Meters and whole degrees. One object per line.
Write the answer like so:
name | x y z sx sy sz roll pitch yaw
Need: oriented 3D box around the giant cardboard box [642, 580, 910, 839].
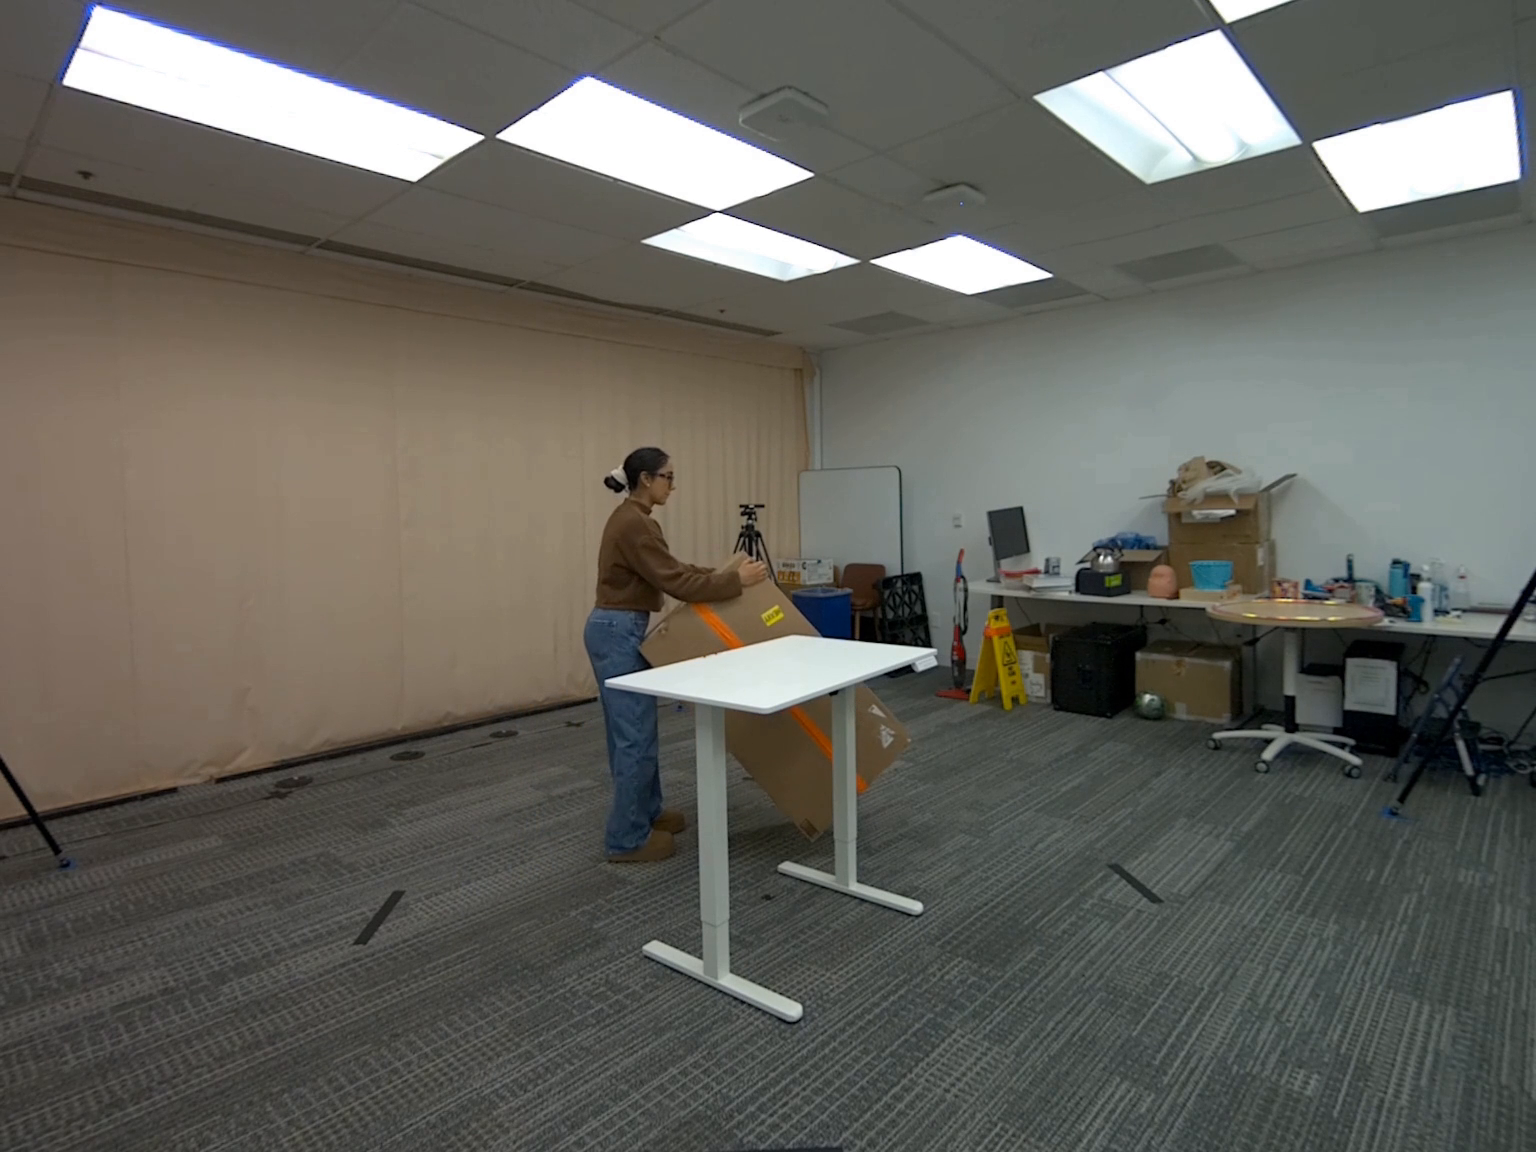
giant cardboard box | 0.010 0.483 3.517 0.575 1.025 0.428 -42 1 -9
